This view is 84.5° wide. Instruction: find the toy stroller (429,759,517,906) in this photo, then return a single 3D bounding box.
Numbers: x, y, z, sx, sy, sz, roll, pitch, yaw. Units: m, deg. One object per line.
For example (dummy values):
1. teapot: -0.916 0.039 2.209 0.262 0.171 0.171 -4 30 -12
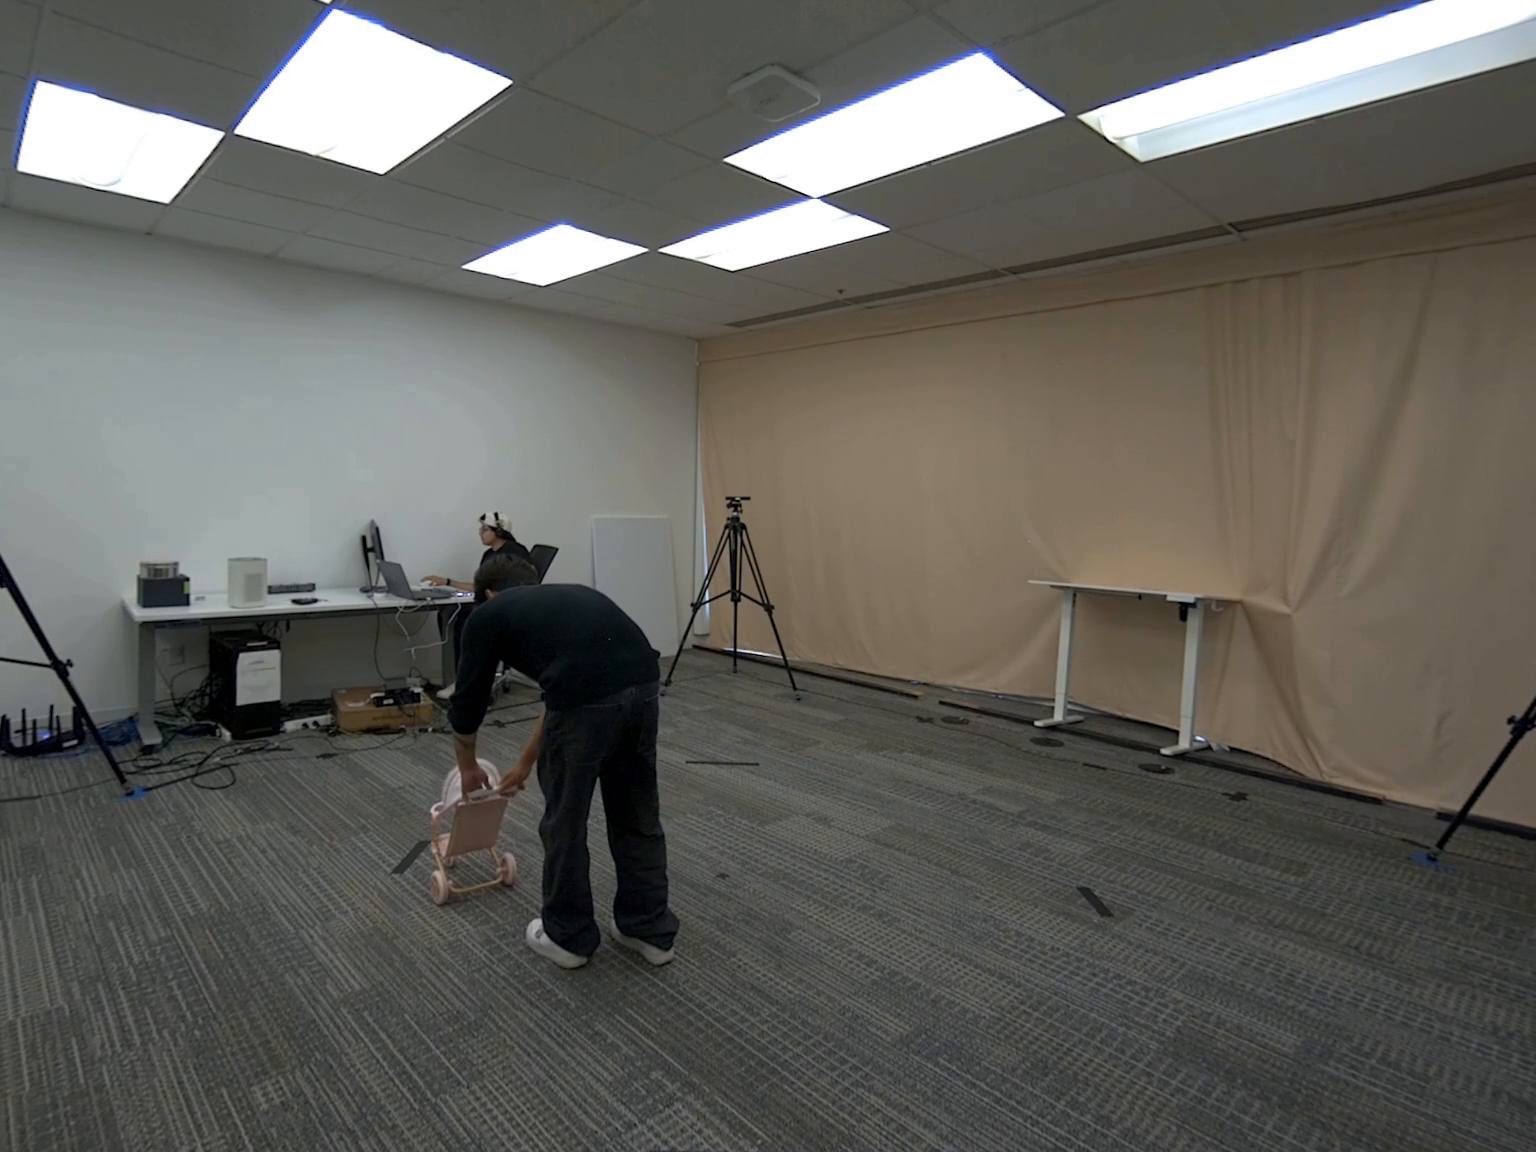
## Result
1. toy stroller: -1.054 0.878 2.960 0.275 0.529 0.352 0 23 -34
